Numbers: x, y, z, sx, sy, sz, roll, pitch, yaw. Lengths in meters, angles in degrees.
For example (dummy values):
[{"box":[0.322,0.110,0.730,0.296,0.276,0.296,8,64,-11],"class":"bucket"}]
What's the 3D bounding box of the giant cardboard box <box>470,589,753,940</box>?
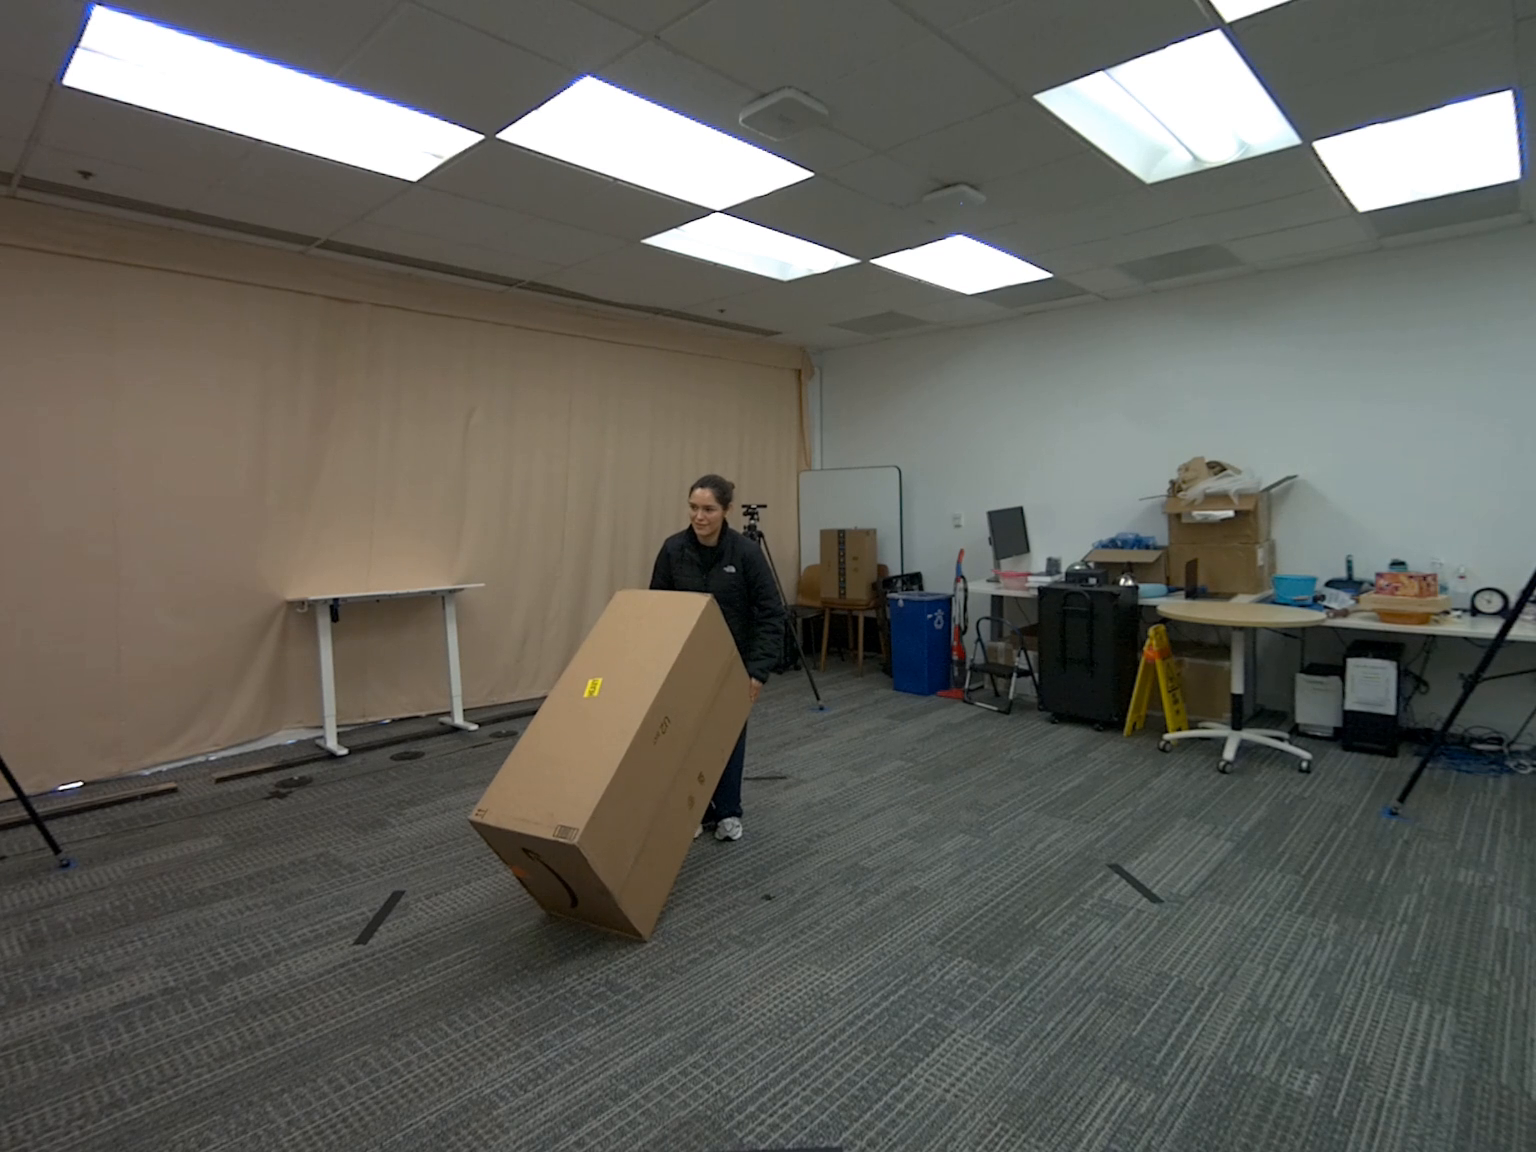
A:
[{"box":[-0.480,0.615,2.963,0.459,0.568,1.028,0,42,27],"class":"giant cardboard box"}]
